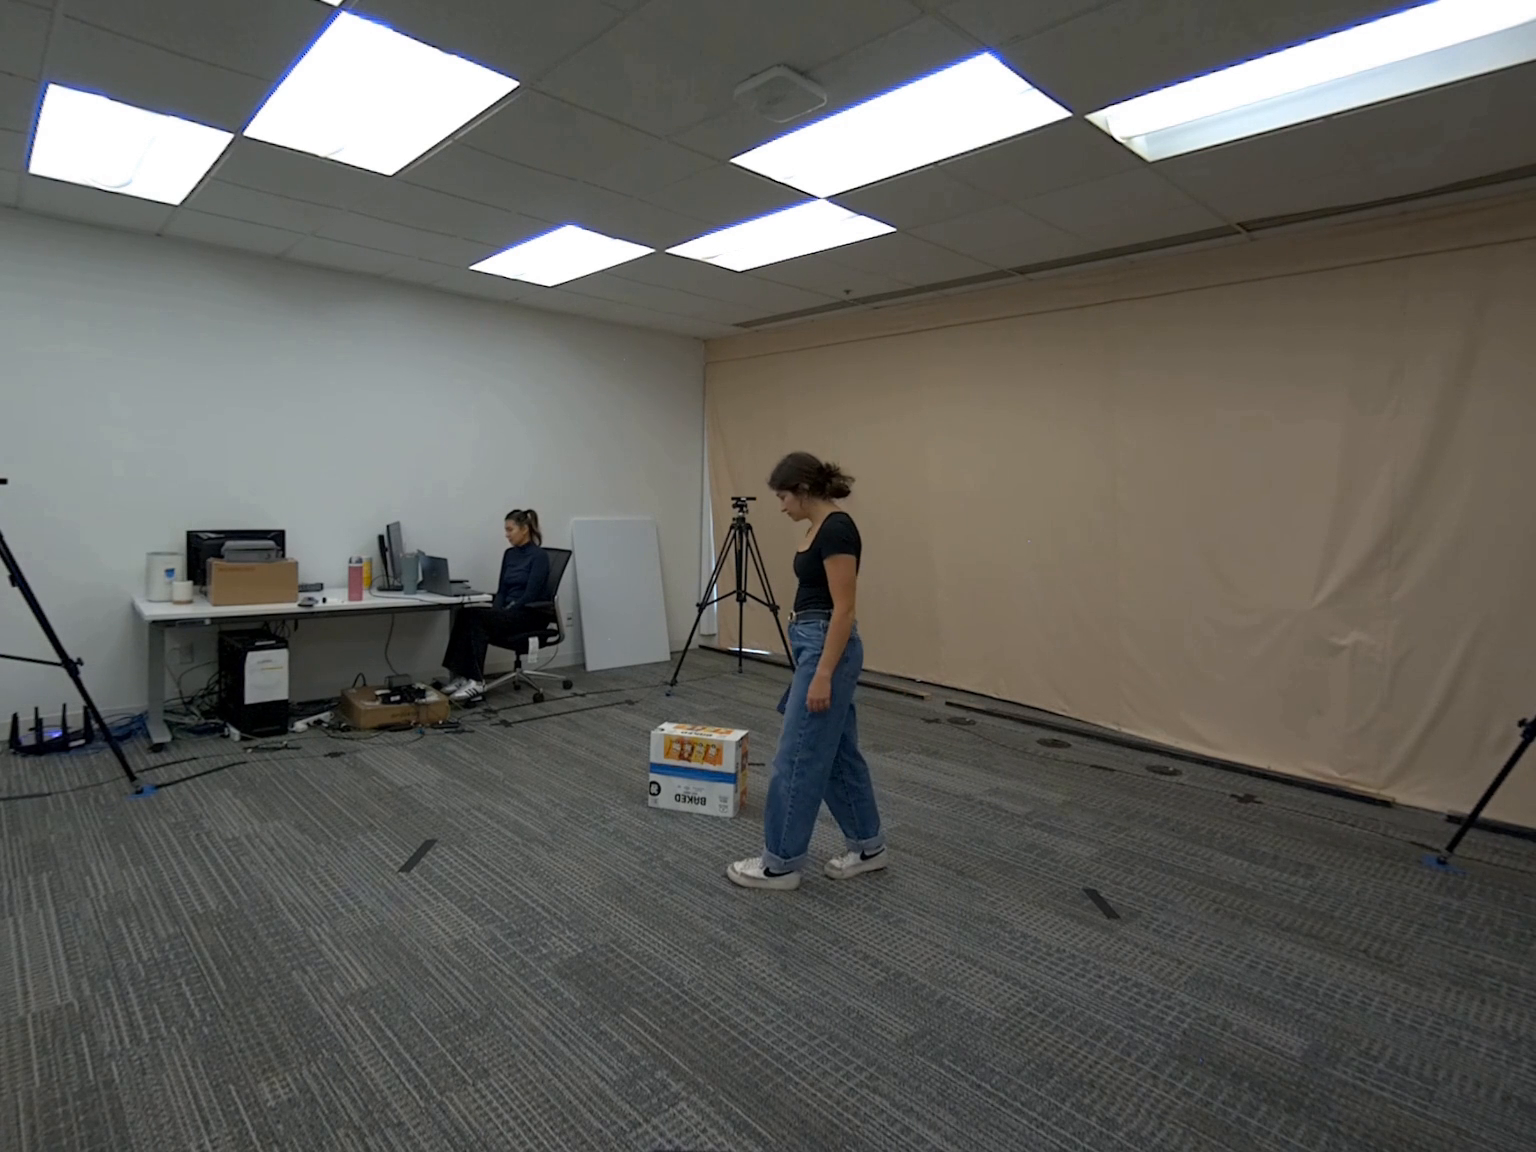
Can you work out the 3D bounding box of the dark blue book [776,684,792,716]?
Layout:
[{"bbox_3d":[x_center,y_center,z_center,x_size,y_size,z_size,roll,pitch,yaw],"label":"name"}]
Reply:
[{"bbox_3d":[0.173,0.516,3.293,0.248,0.164,0.044,30,-10,12],"label":"dark blue book"}]
